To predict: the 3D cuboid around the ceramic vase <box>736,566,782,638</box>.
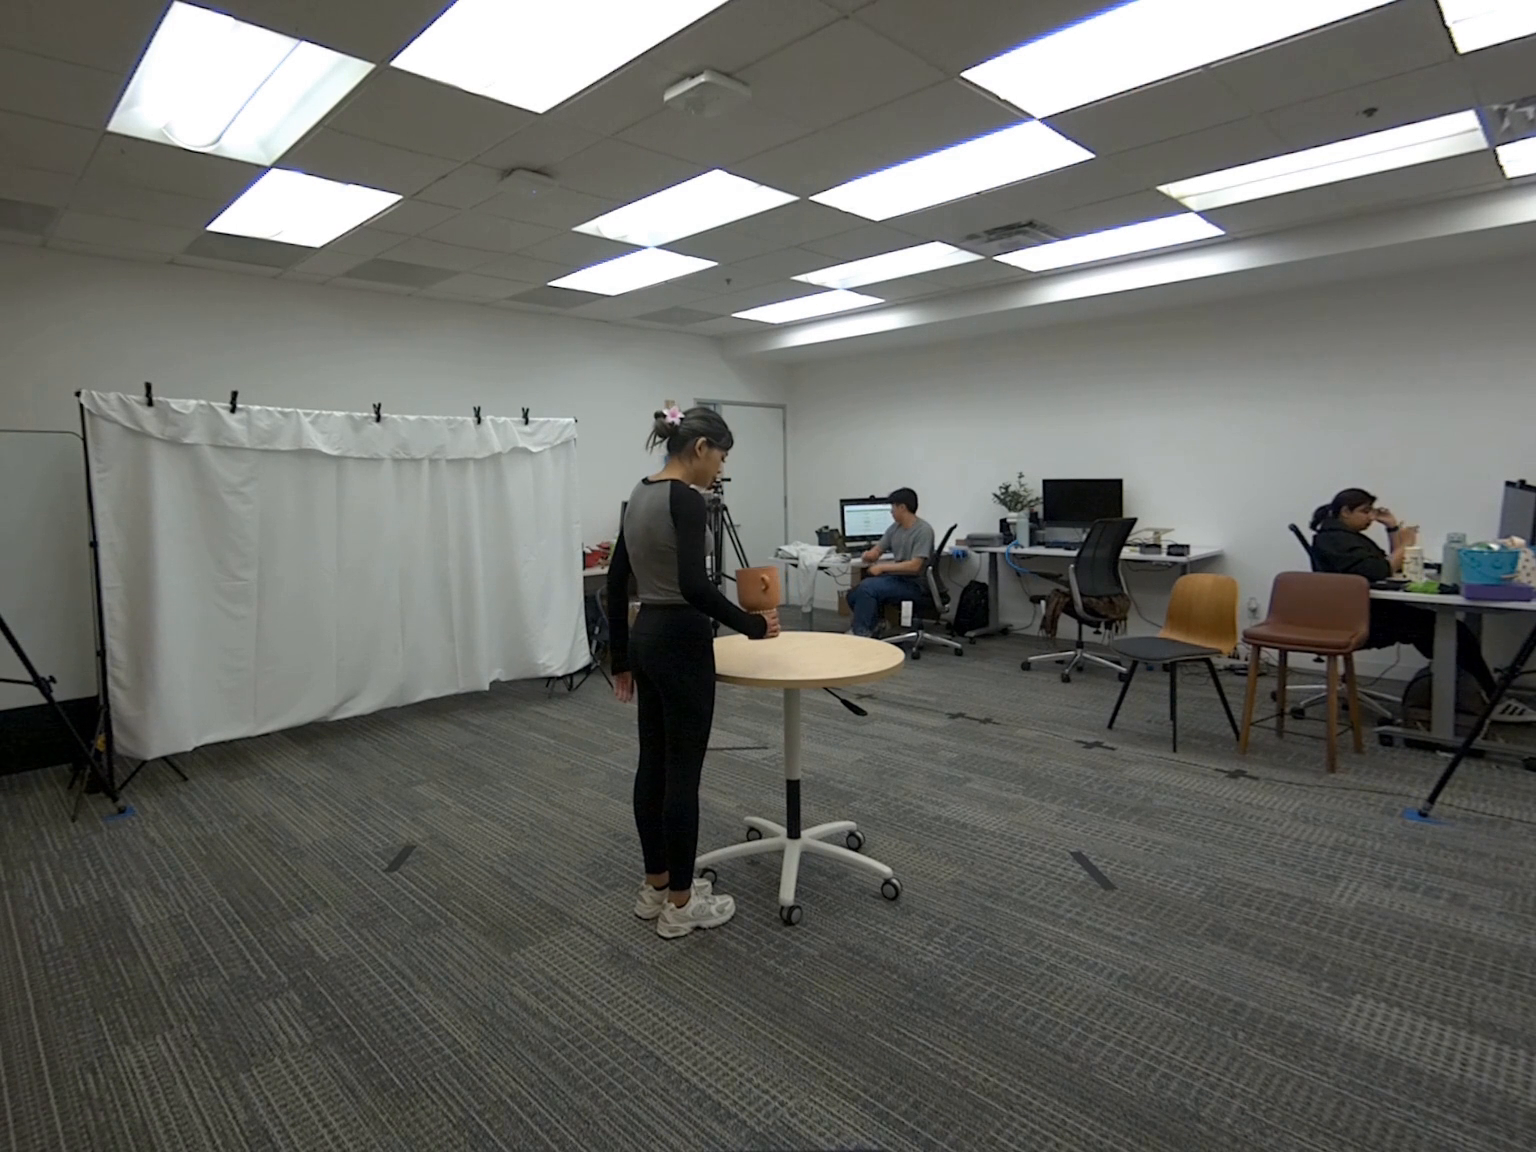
[{"bbox_3d":[-0.030,0.082,2.646,0.137,0.220,0.156,-5,0,24],"label":"ceramic vase"}]
